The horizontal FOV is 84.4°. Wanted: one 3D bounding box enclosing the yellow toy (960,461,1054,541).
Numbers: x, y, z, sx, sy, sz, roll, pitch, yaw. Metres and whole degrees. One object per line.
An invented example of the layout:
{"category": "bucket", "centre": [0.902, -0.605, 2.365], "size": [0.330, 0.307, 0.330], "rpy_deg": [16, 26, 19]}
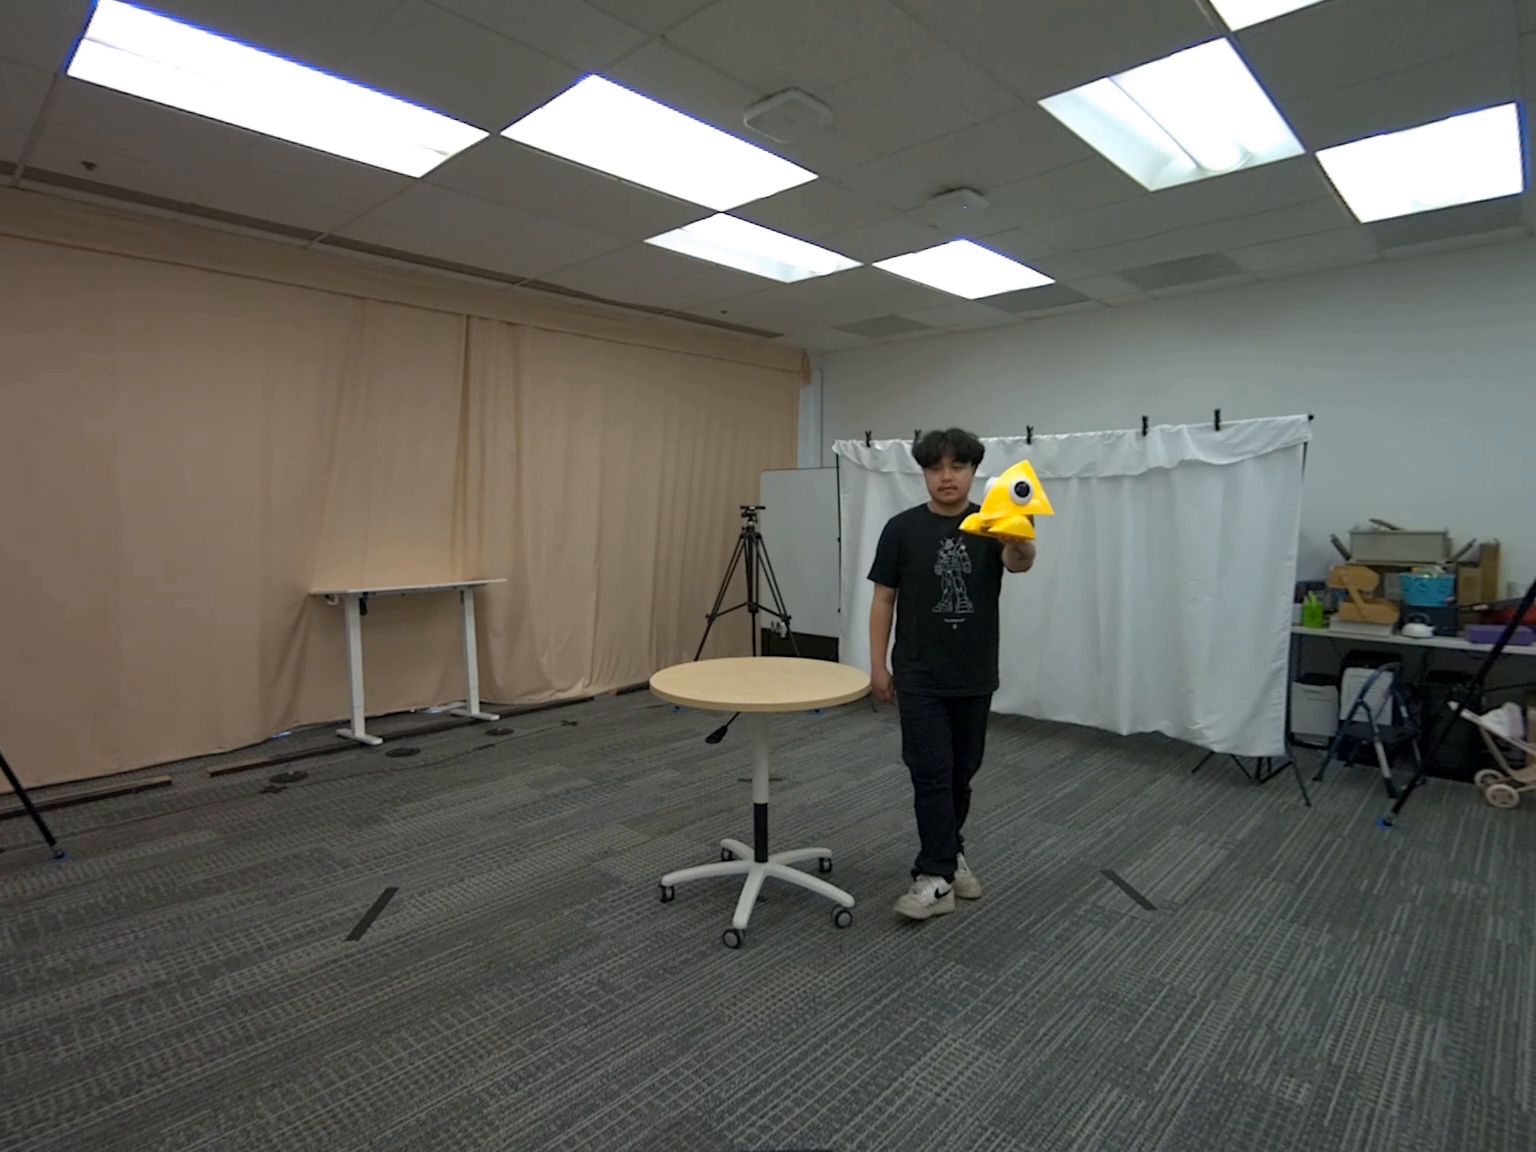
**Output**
{"category": "yellow toy", "centre": [0.685, -0.229, 2.403], "size": [0.187, 0.231, 0.211], "rpy_deg": [11, 0, -32]}
